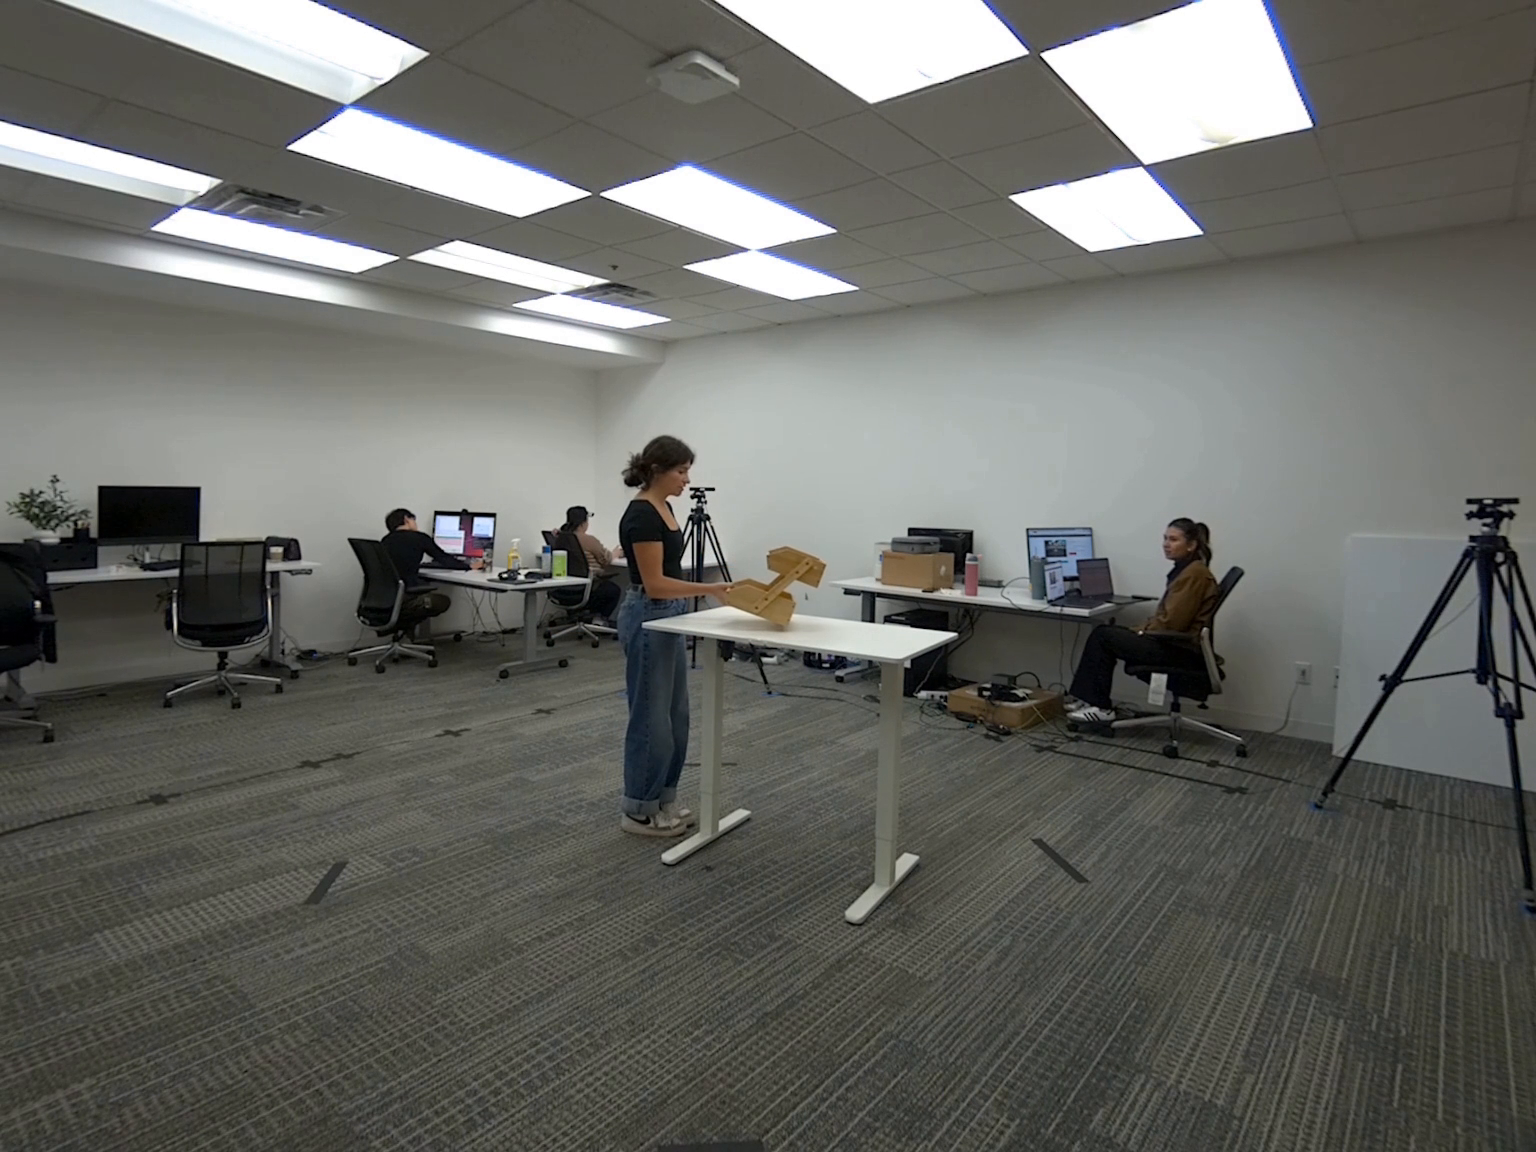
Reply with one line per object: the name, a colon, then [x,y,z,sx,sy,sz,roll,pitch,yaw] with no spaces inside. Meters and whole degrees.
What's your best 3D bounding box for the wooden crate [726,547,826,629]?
wooden crate: [0.022,0.013,3.179,0.303,0.273,0.324,21,4,1]
